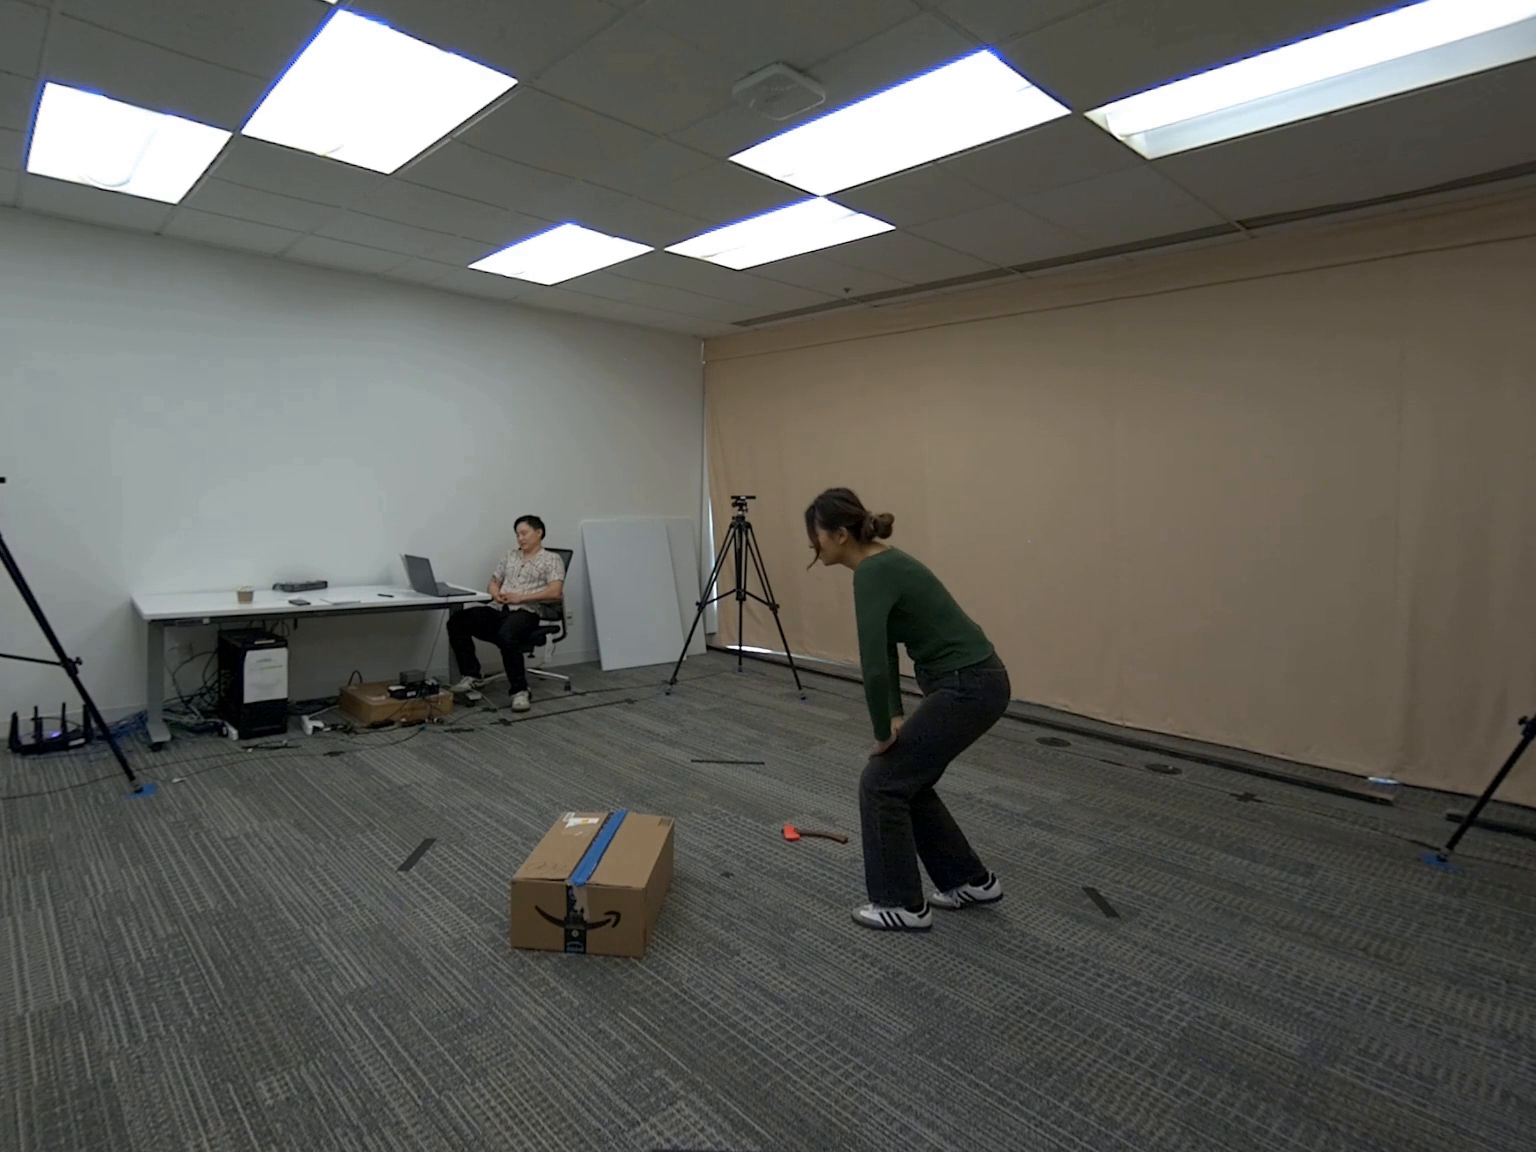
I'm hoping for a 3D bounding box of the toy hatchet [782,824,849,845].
[{"bbox_3d":[0.171,1.067,3.442,0.275,0.029,0.129,5,6,26],"label":"toy hatchet"}]
